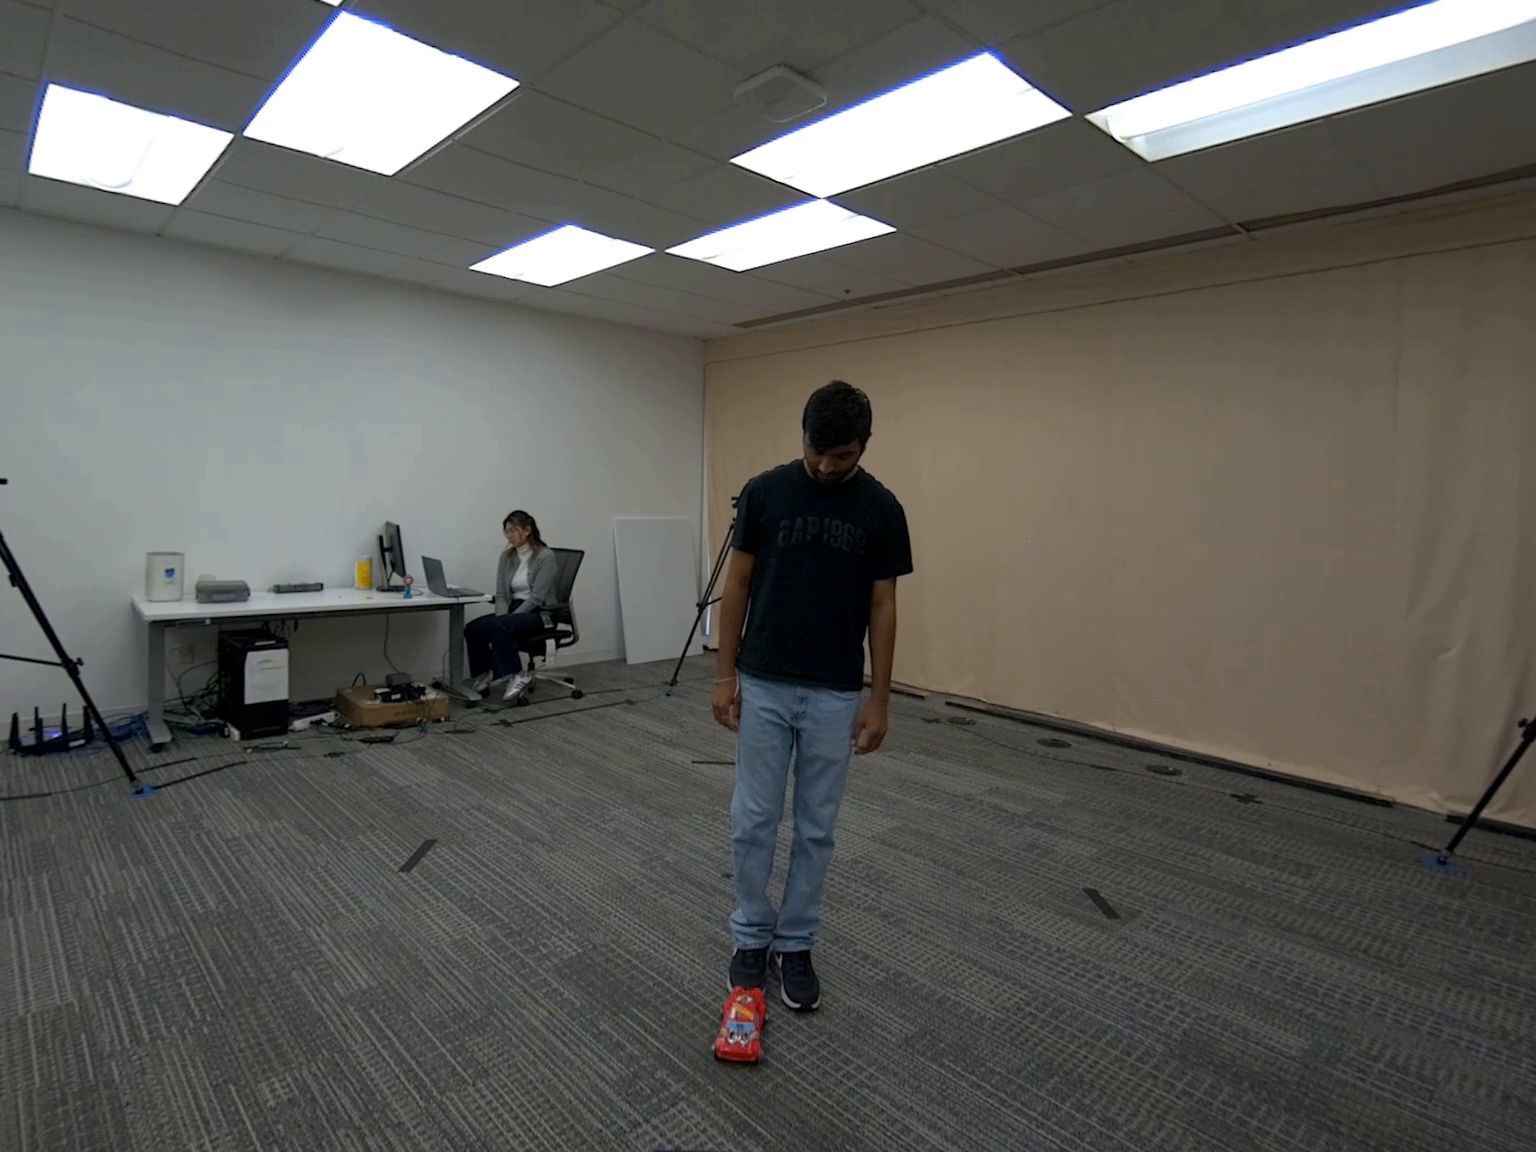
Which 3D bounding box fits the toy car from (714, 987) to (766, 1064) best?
[{"bbox_3d":[-0.077,1.166,2.174,0.131,0.082,0.256,1,17,5],"label":"toy car"}]
